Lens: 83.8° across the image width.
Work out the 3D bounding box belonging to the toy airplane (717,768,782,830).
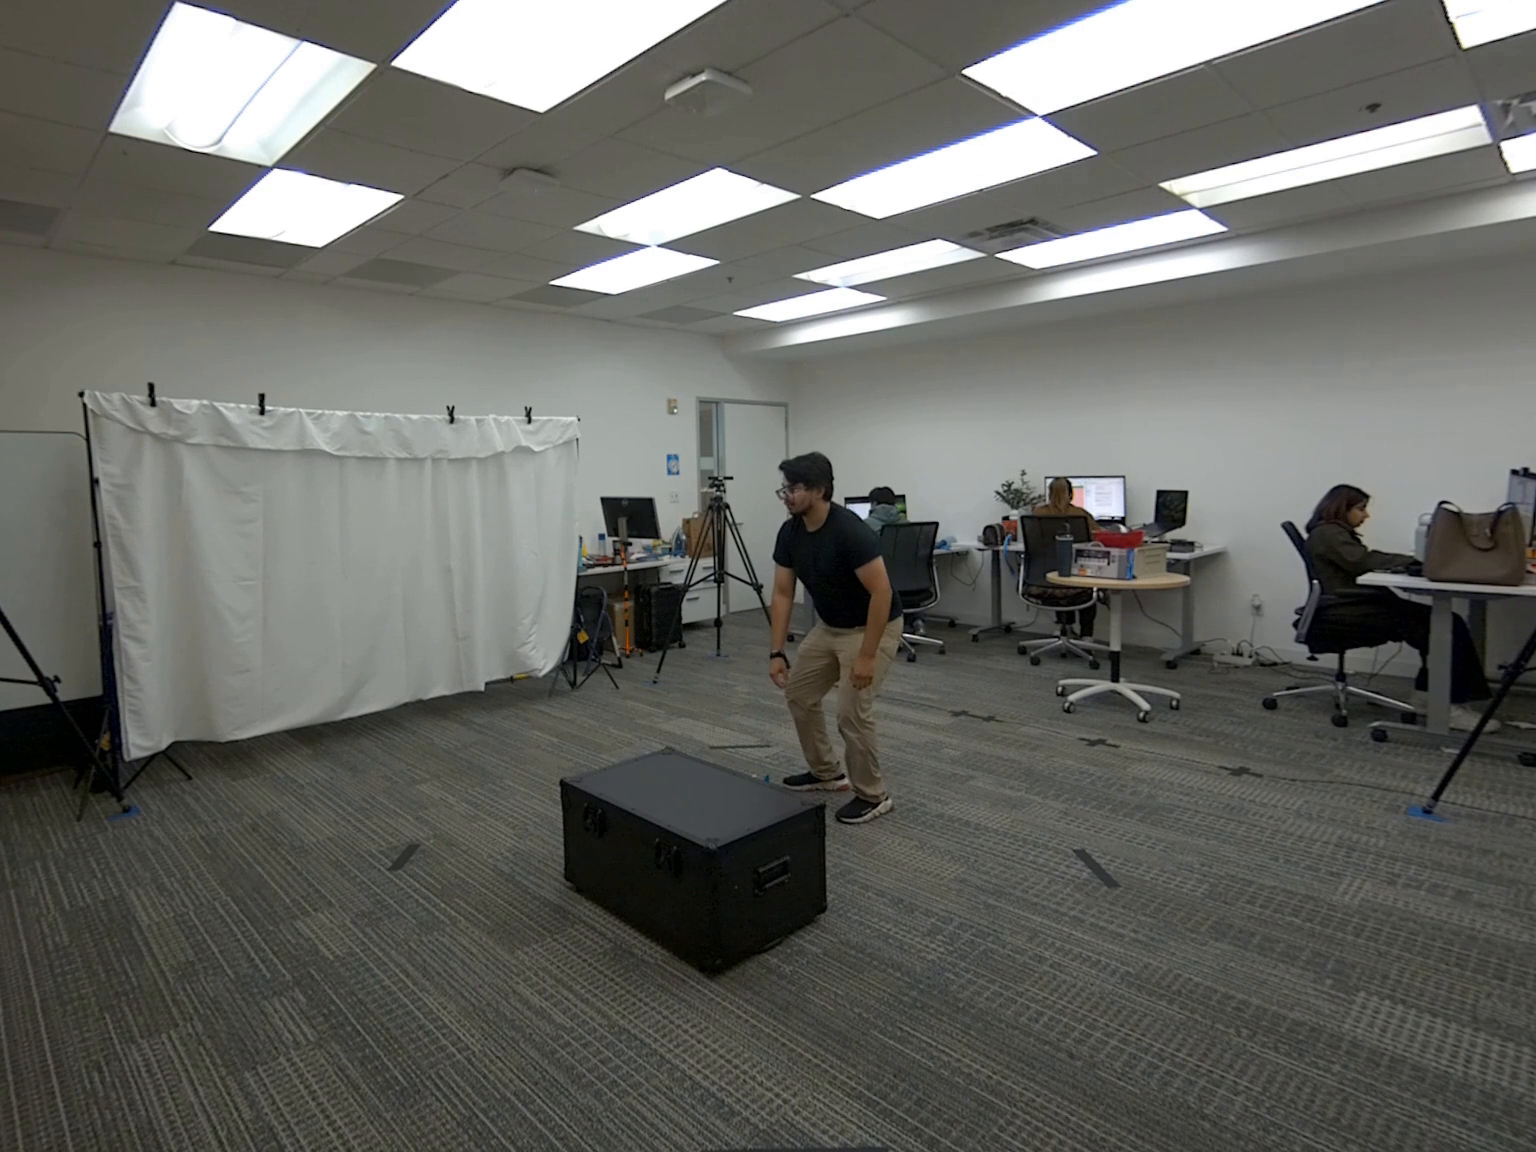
[{"bbox_3d":[-0.074,0.916,3.544,0.252,0.156,0.260,-1,6,2],"label":"toy airplane"}]
